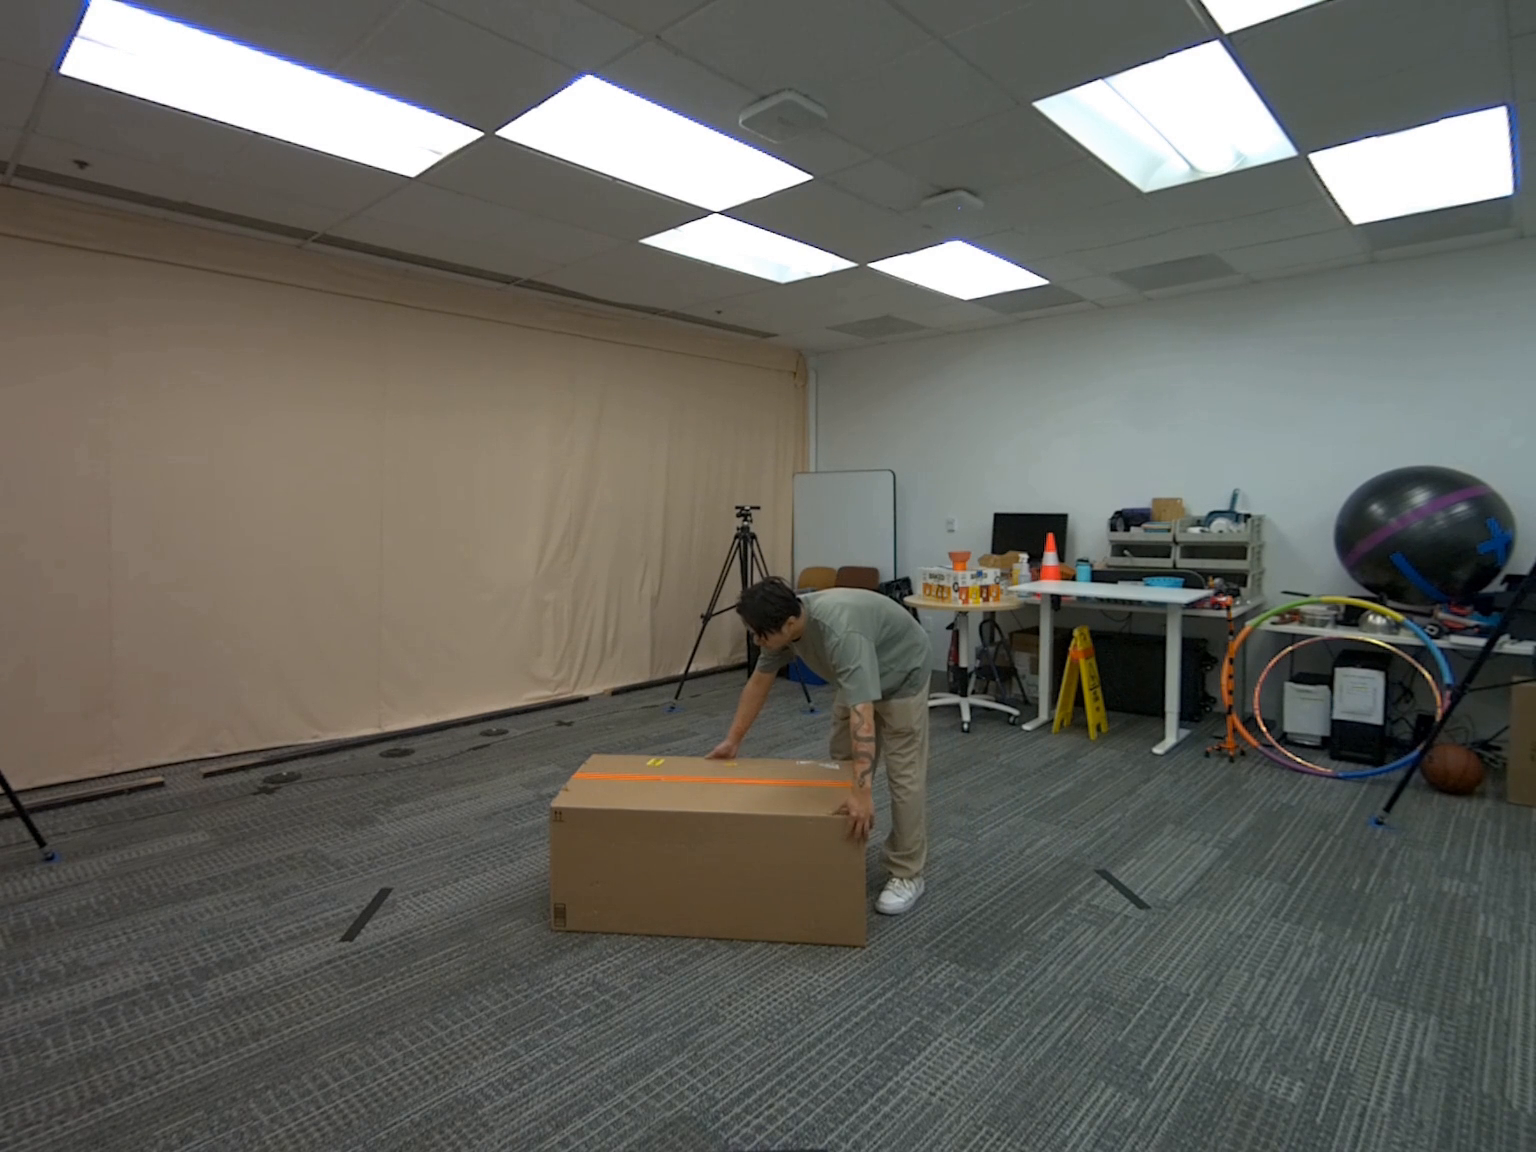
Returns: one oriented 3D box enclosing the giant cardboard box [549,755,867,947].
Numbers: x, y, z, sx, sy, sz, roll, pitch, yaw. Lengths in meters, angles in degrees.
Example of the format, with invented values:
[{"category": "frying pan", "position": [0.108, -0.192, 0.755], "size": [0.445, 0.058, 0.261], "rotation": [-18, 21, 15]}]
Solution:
[{"category": "giant cardboard box", "position": [-0.198, 0.932, 2.971], "size": [1.032, 0.425, 0.576], "rotation": [0, 4, 5]}]
